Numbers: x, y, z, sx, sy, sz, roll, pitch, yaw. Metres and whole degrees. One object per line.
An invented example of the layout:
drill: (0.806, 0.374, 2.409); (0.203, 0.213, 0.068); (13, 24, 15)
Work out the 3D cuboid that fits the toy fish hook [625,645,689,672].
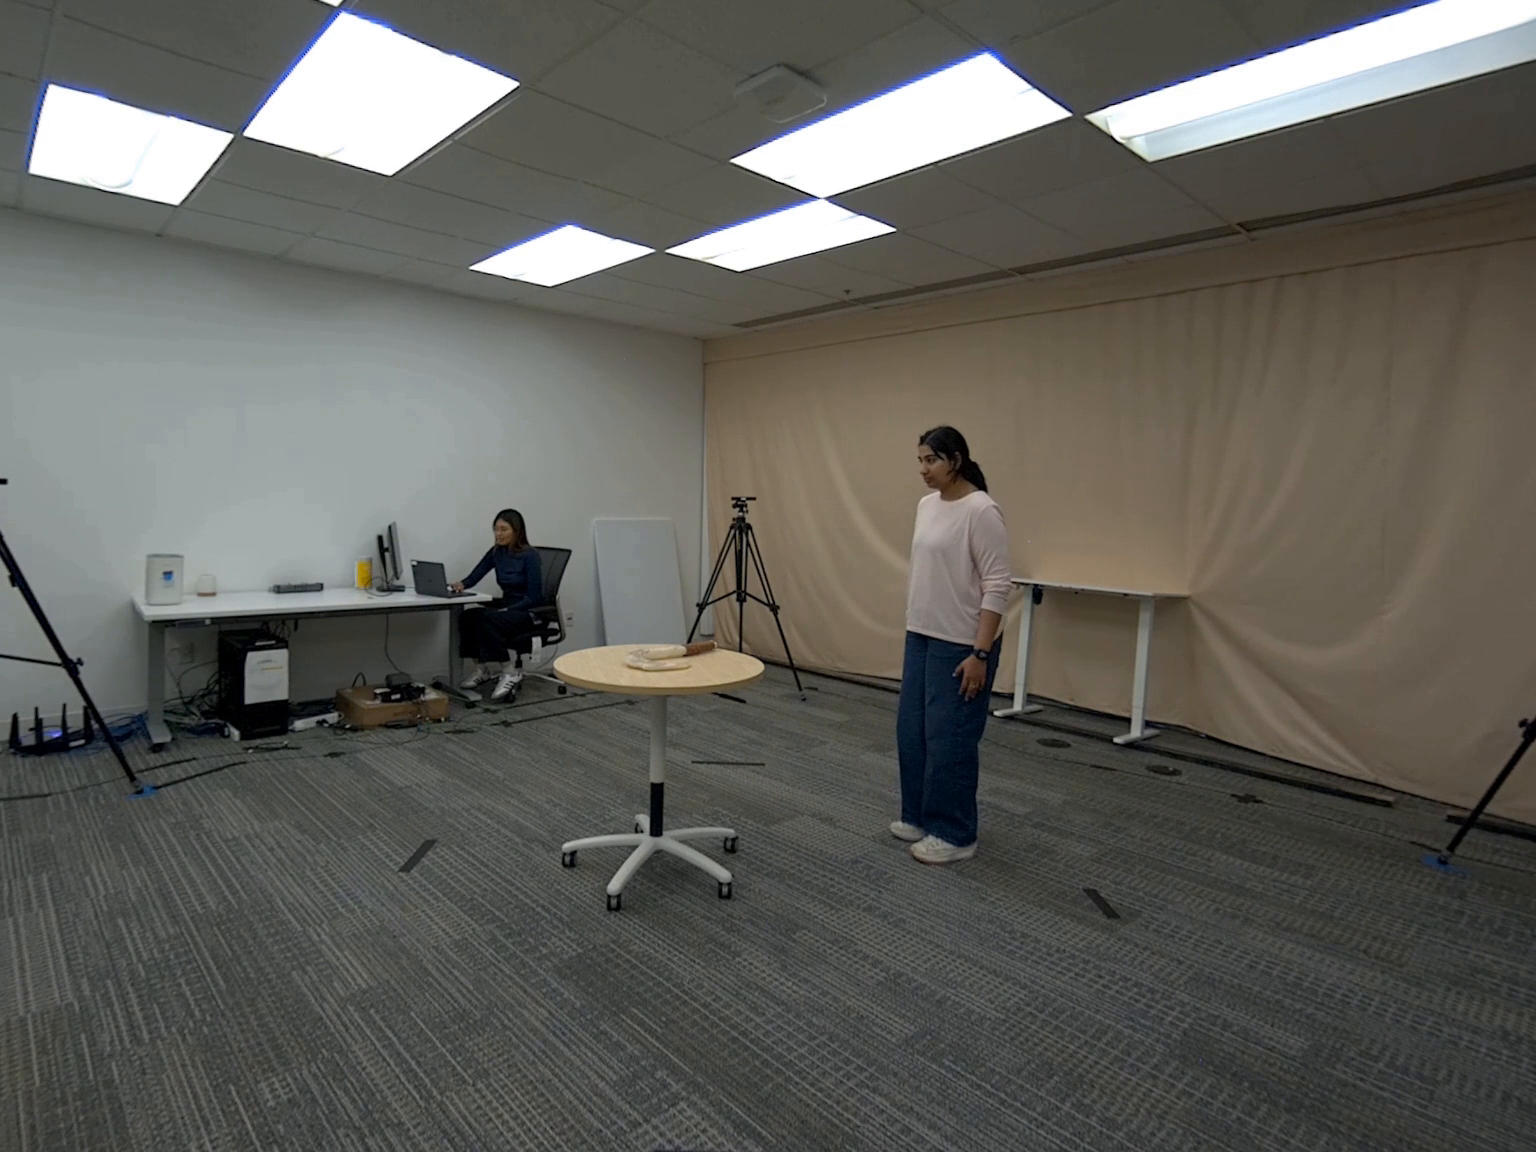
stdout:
toy fish hook: (-0.326, 0.301, 3.146); (0.231, 0.048, 0.496); (16, 14, 36)
